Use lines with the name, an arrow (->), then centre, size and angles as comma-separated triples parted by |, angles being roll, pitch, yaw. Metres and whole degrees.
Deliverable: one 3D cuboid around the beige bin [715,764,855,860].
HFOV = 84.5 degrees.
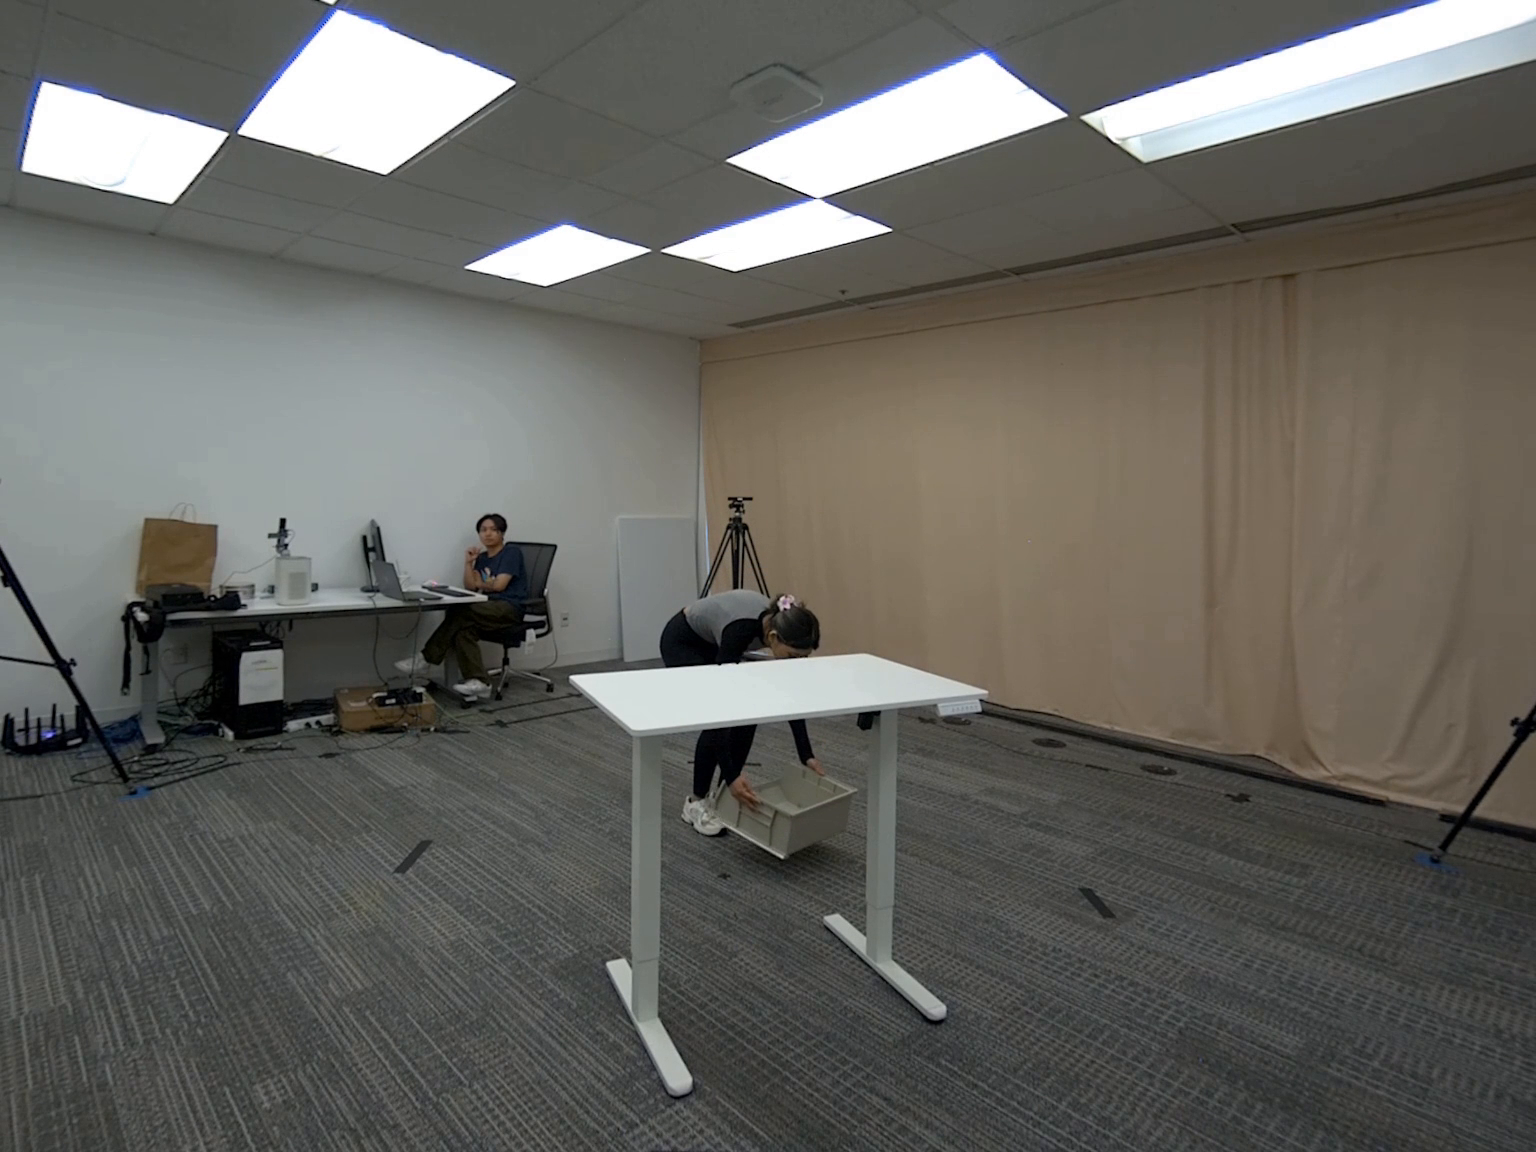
beige bin -> 0.066, 0.900, 3.293 | 0.388, 0.188, 0.412 | 16, 11, 39
